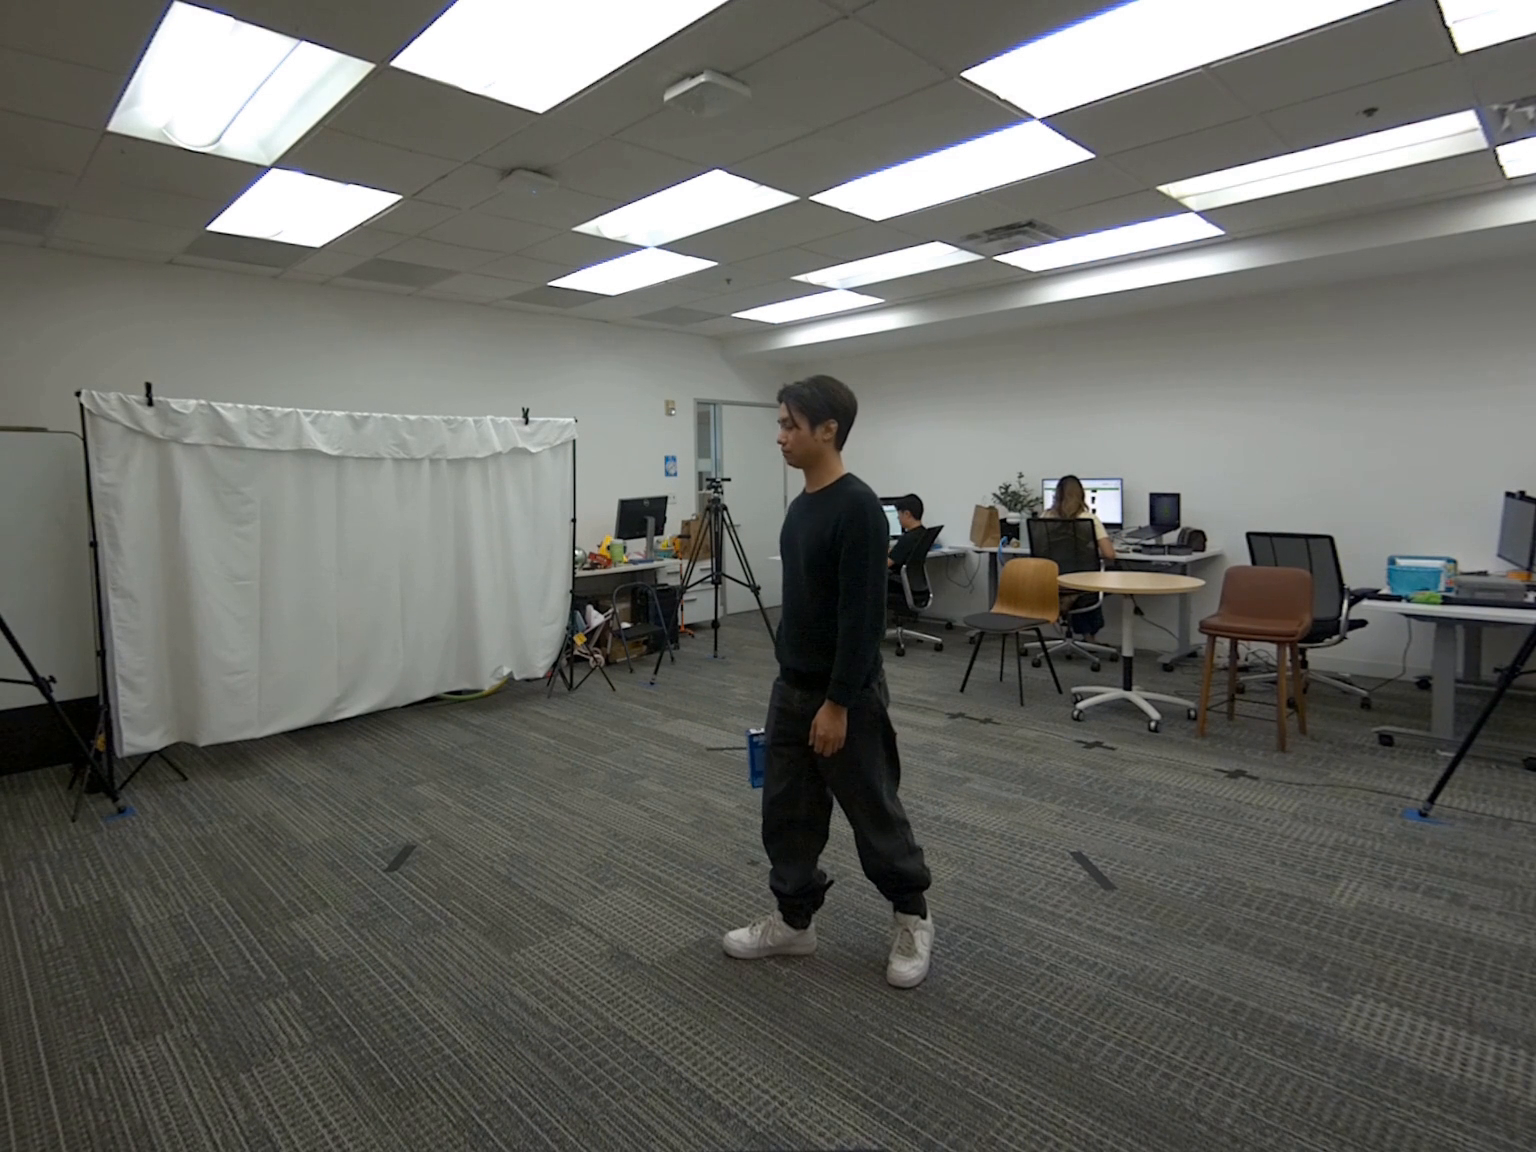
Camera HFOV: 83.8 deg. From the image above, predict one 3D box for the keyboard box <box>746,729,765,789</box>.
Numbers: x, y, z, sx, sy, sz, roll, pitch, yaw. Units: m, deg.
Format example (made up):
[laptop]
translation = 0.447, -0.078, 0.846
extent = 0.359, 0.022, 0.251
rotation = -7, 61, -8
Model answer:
[keyboard box]
translation = 0.171, 0.547, 2.665
extent = 0.434, 0.175, 0.059
rotation = -3, 2, -7
